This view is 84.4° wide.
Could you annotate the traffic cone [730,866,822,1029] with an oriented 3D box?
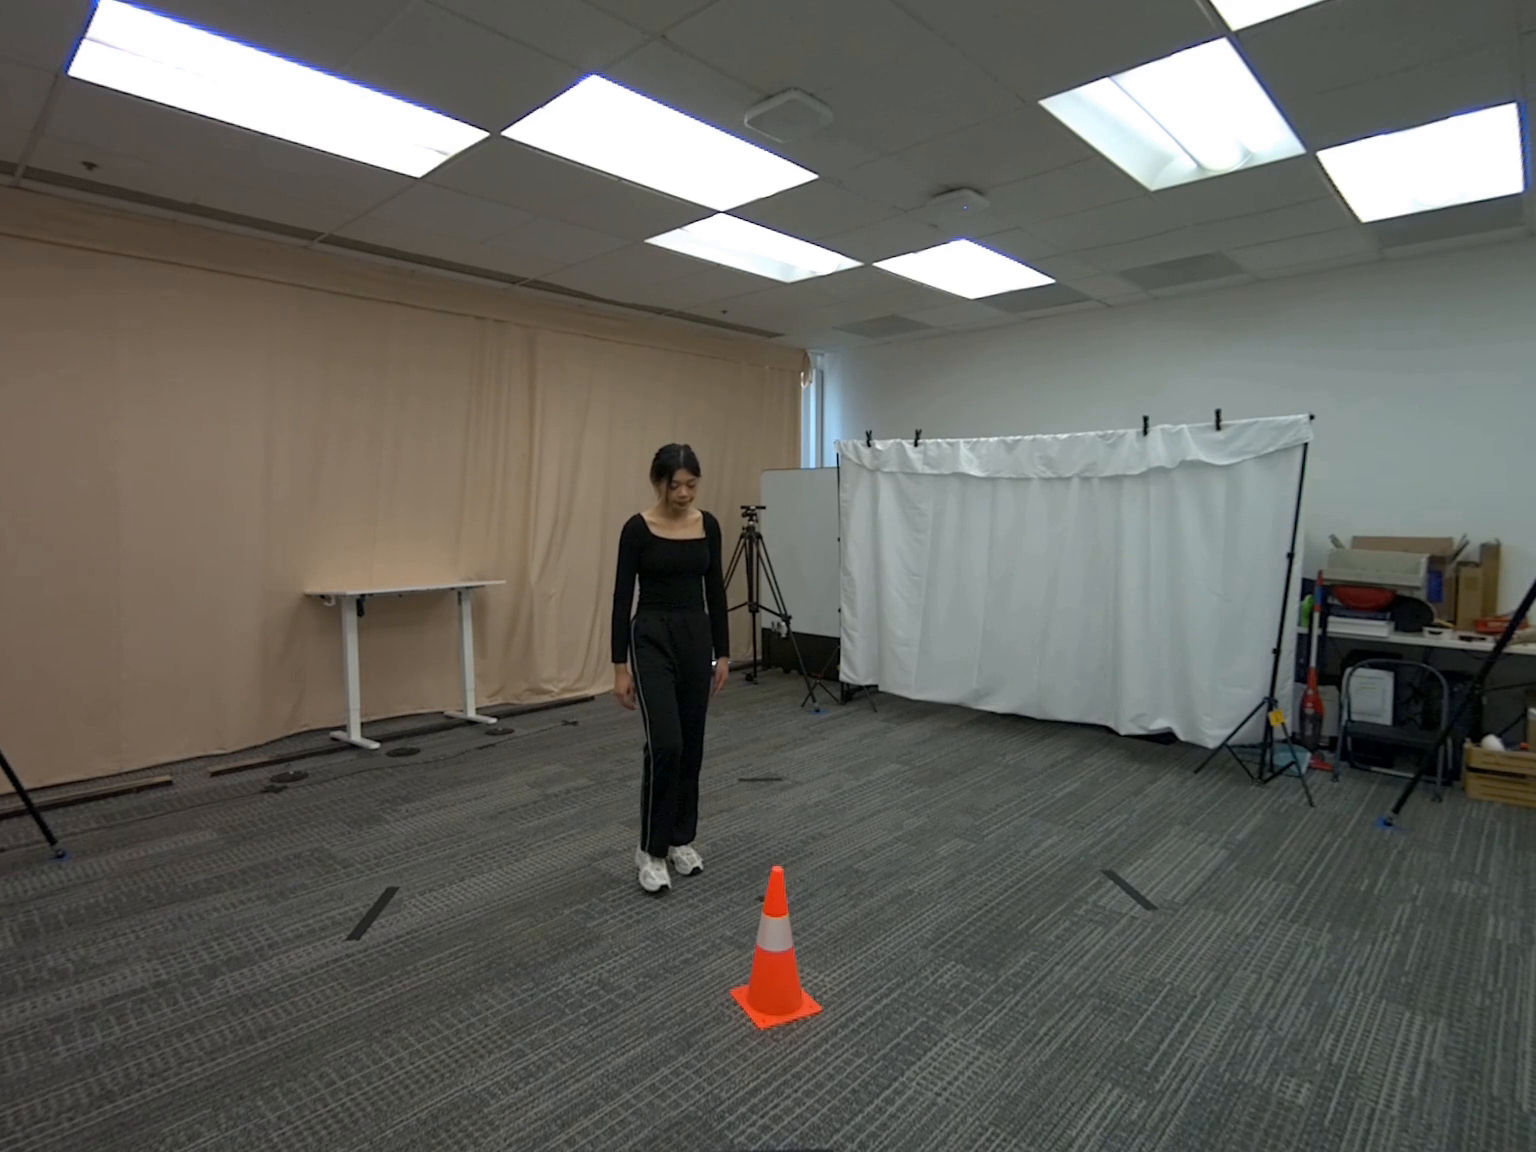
[{"bbox_3d":[0.025,1.014,2.351,0.199,0.383,0.210,-1,4,-24],"label":"traffic cone"}]
